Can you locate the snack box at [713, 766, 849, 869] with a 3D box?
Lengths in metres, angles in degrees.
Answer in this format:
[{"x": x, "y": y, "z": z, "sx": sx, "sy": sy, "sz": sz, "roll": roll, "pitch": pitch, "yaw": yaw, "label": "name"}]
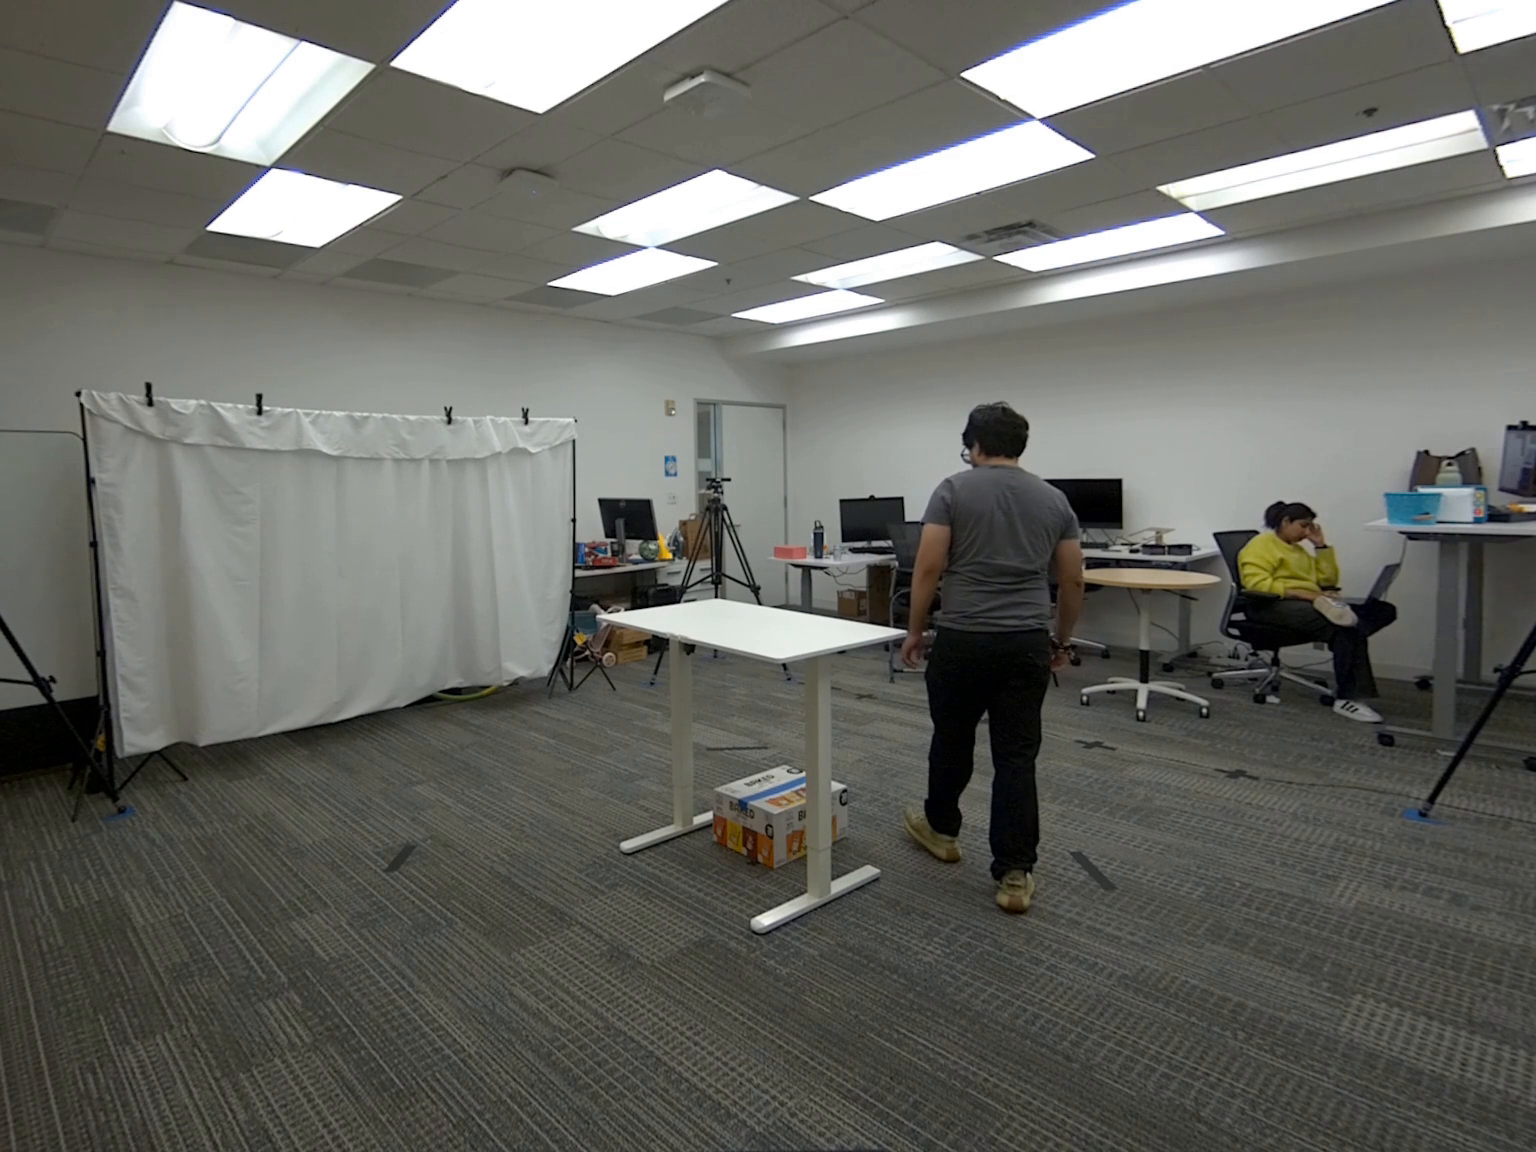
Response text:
[{"x": 0.049, "y": 0.919, "z": 3.301, "sx": 0.394, "sy": 0.205, "sz": 0.351, "roll": -7, "pitch": 8, "yaw": -43, "label": "snack box"}]
